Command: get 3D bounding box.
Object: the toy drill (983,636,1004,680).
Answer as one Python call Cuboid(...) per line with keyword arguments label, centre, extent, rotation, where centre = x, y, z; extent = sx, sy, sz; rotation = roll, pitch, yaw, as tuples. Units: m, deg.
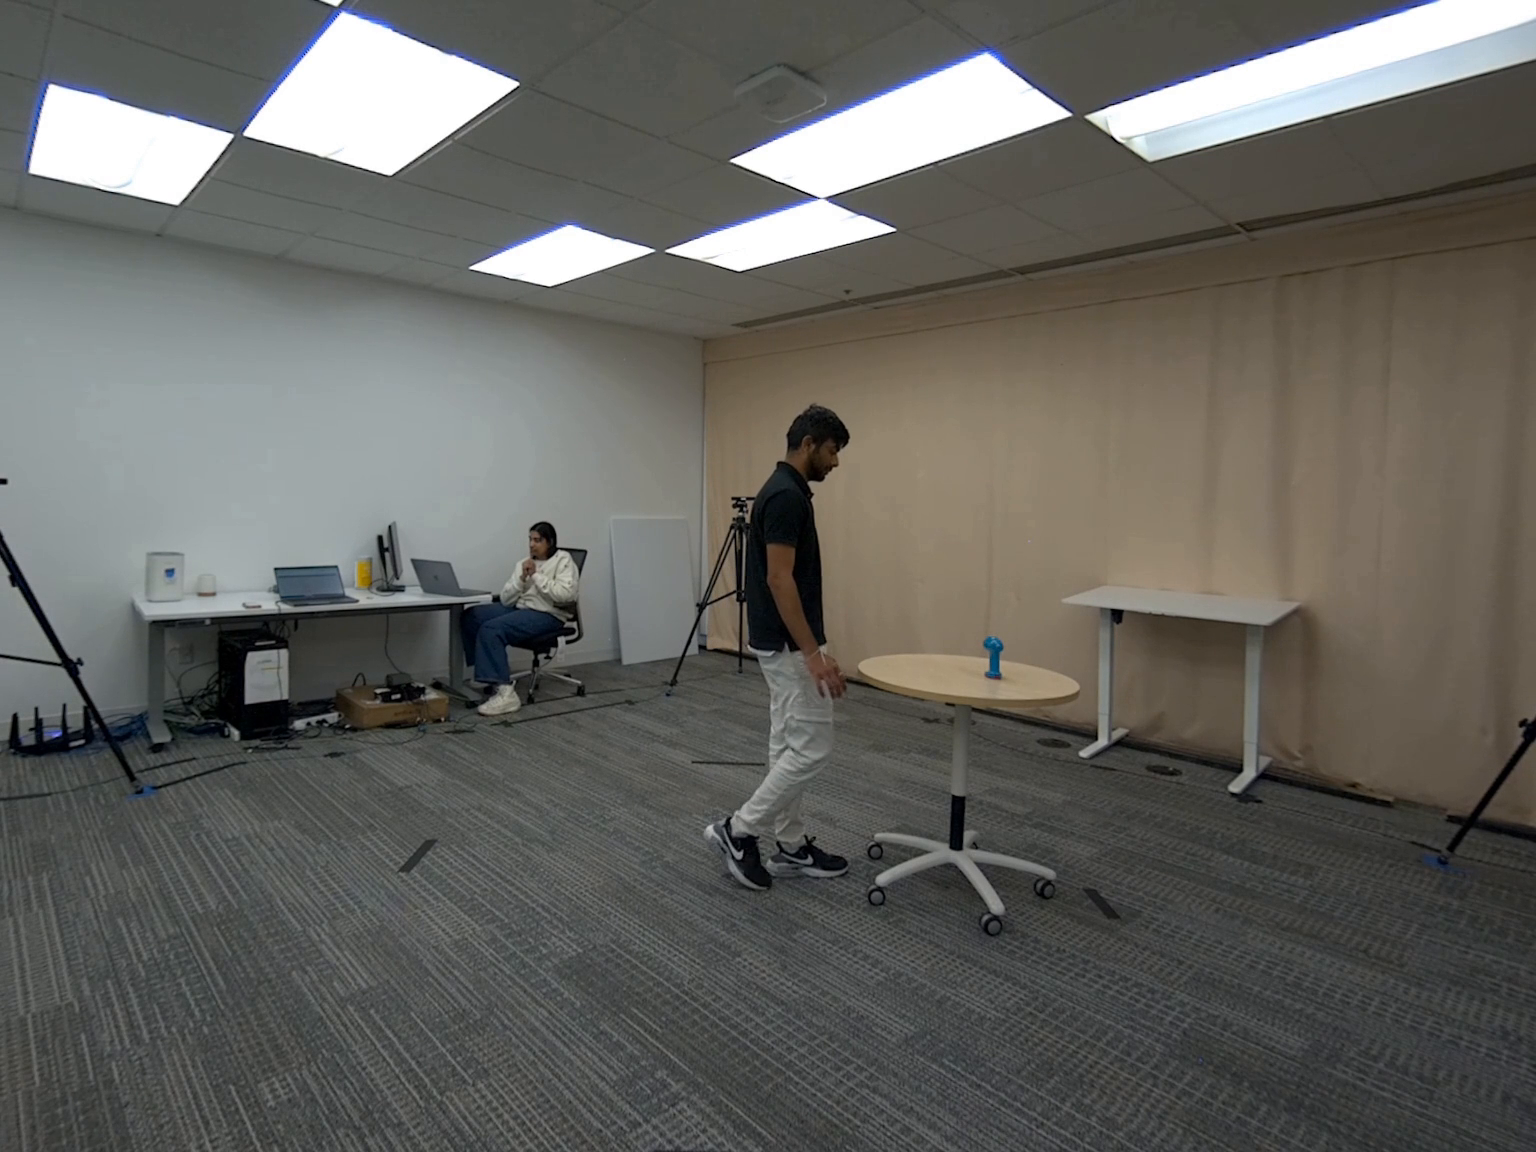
Cuboid(label="toy drill", centre=(0.792, 0.282, 3.022), extent=(0.061, 0.146, 0.171), rotation=(2, 4, -5))
